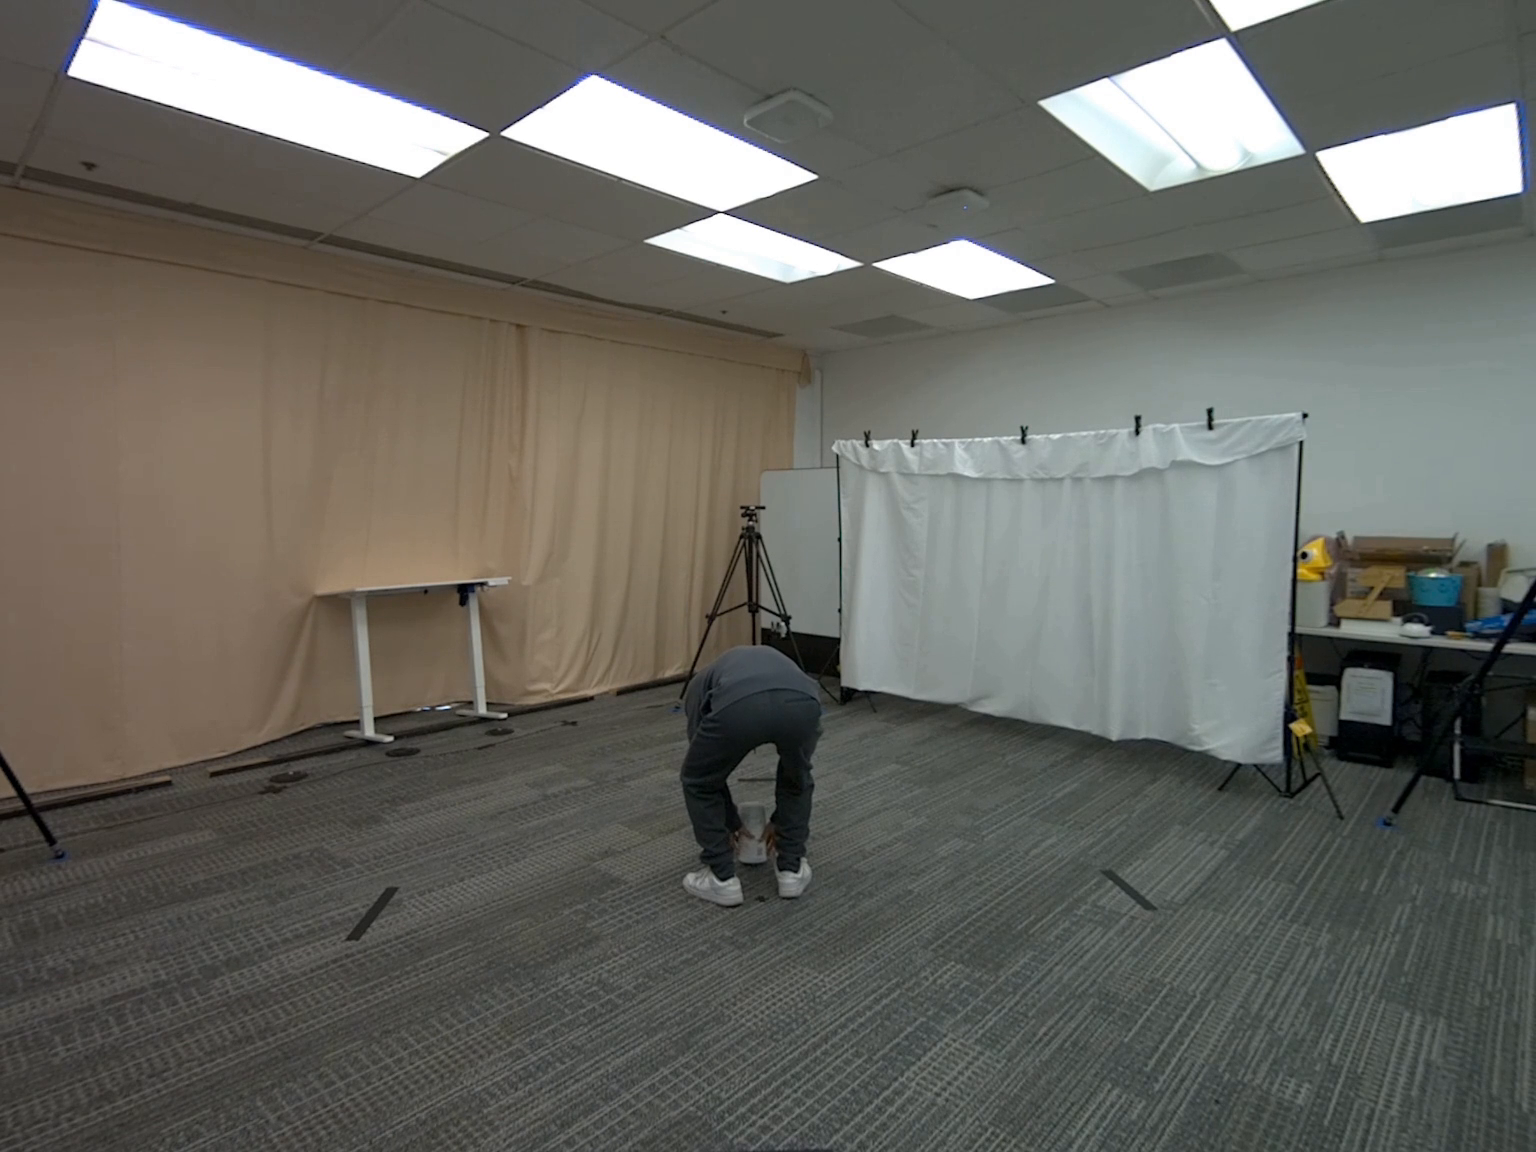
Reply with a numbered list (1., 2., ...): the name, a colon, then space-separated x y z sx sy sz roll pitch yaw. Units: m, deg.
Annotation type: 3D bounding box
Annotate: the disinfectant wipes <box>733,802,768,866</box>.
1. disinfectant wipes: -0.057 1.001 3.294 0.117 0.218 0.117 -2 -7 -2
